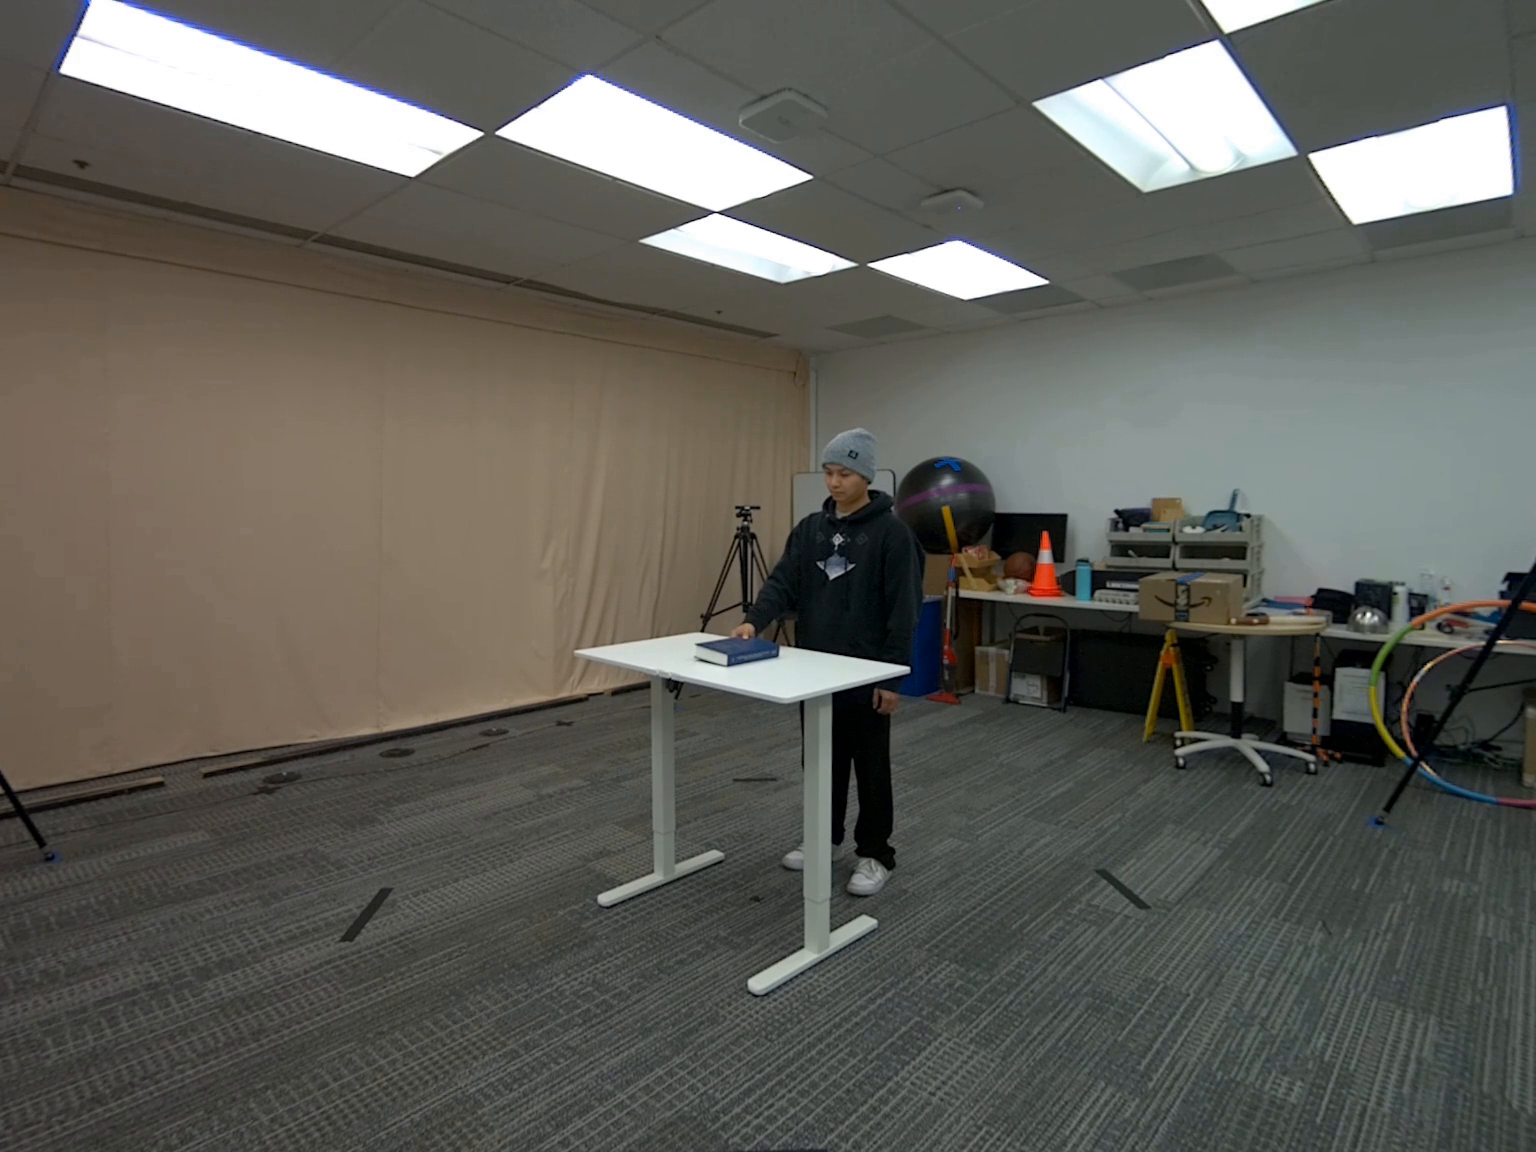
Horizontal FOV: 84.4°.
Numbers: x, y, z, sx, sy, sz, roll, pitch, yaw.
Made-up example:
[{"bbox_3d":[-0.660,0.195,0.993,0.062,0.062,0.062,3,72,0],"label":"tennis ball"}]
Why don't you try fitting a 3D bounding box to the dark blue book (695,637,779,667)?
[{"bbox_3d":[-0.097,0.253,2.799,0.238,0.045,0.169,-6,11,-43],"label":"dark blue book"}]
